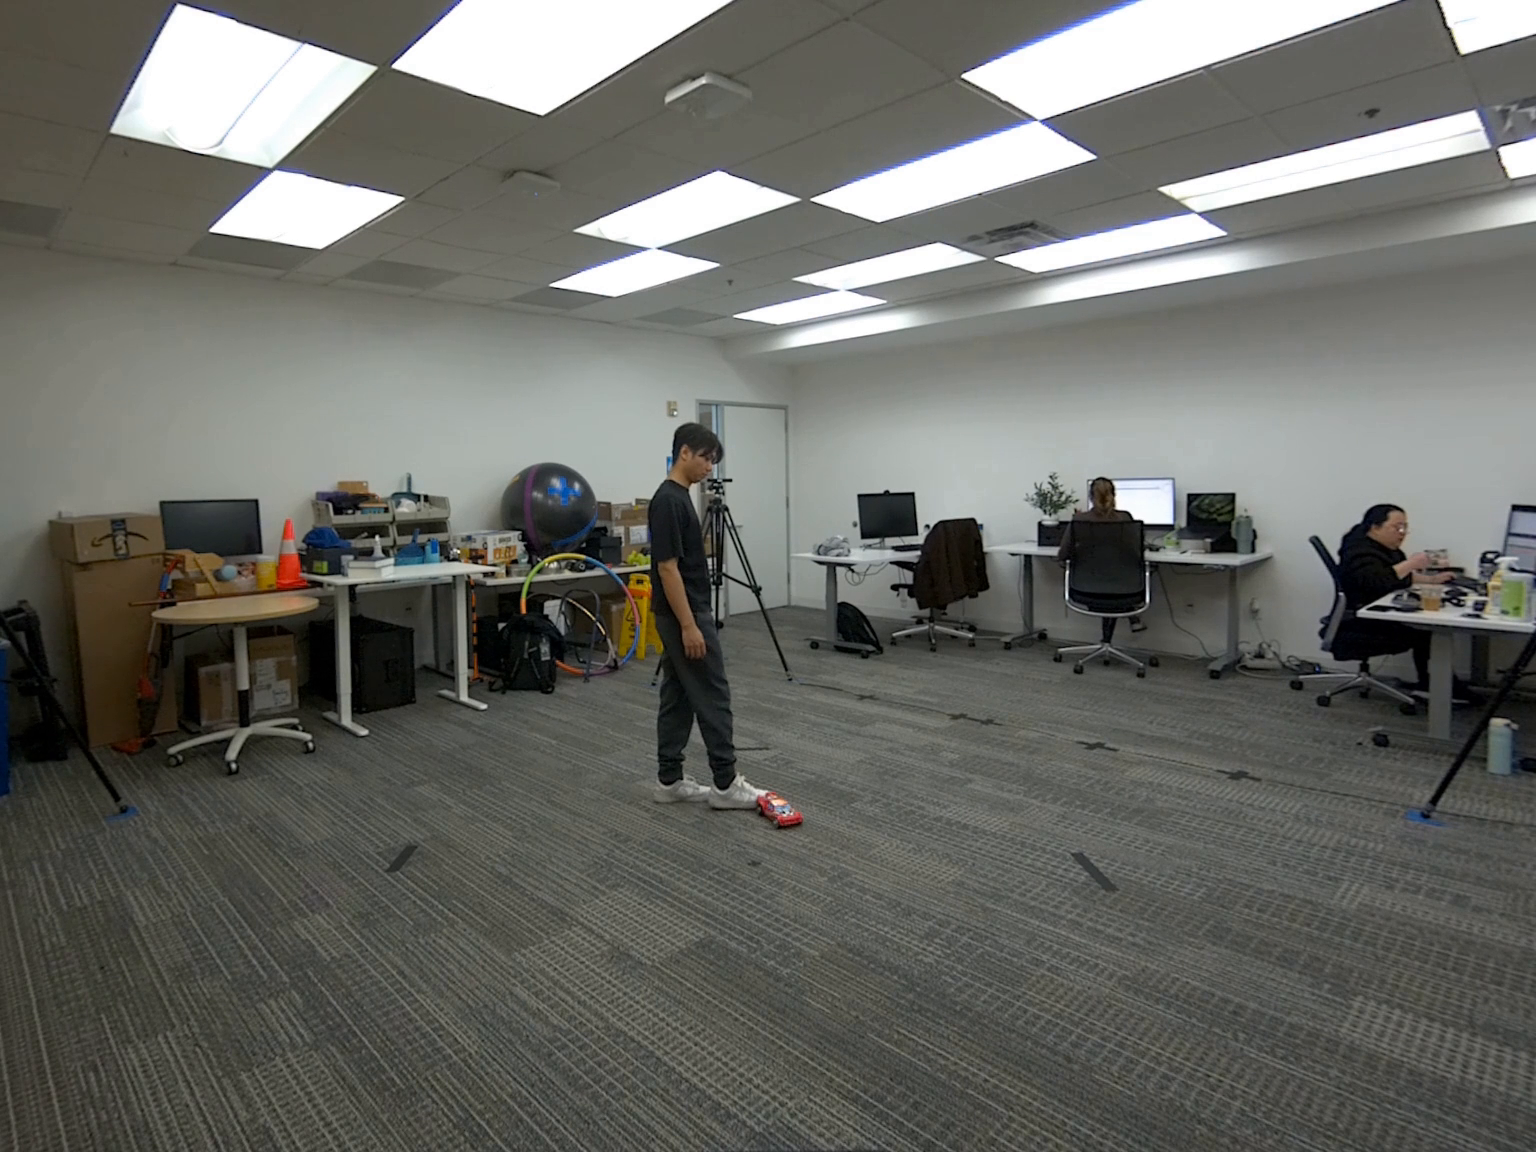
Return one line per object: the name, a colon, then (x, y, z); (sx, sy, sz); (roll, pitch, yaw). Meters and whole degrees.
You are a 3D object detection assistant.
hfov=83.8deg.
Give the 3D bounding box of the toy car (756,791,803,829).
toy car: (0.040, 0.964, 3.518); (0.127, 0.082, 0.263); (-3, 17, -25)
